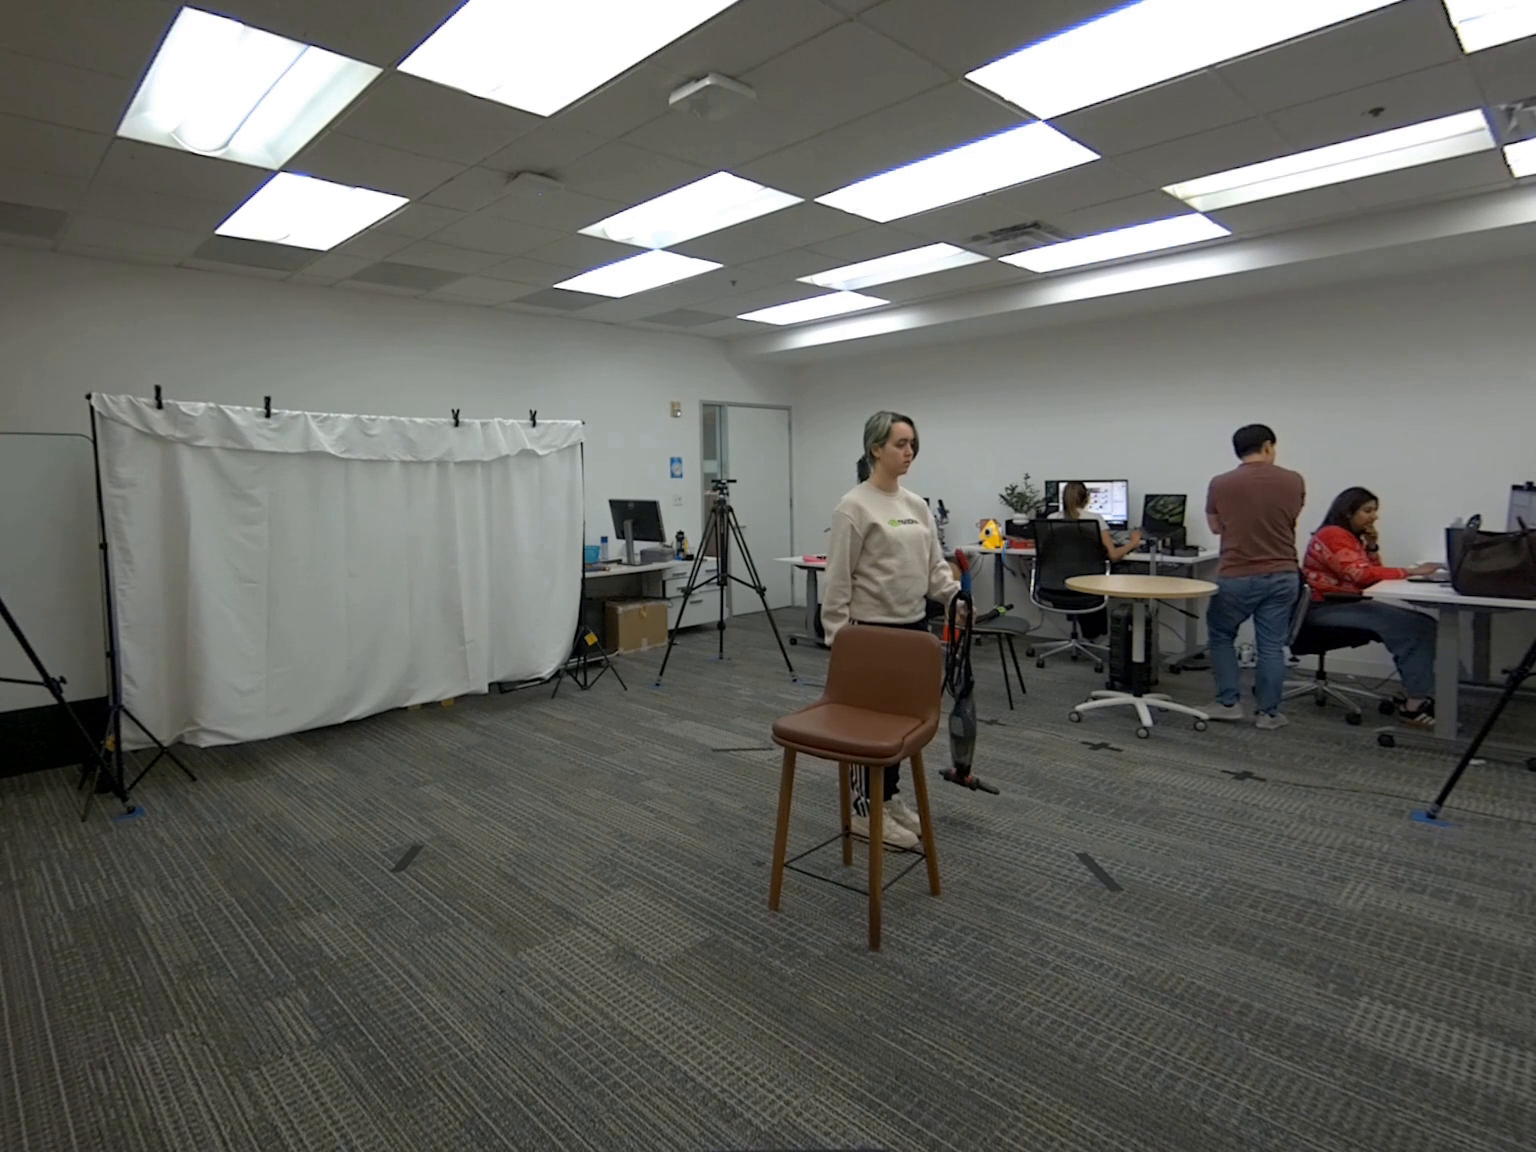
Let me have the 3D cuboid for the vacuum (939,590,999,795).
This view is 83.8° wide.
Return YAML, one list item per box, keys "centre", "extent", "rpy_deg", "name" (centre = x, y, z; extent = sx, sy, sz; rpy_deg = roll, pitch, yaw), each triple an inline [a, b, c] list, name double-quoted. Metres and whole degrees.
- centre: [0.748, 0.382, 3.265]
  extent: [0.261, 1.025, 0.142]
  rpy_deg: [15, 33, 41]
  name: "vacuum"
